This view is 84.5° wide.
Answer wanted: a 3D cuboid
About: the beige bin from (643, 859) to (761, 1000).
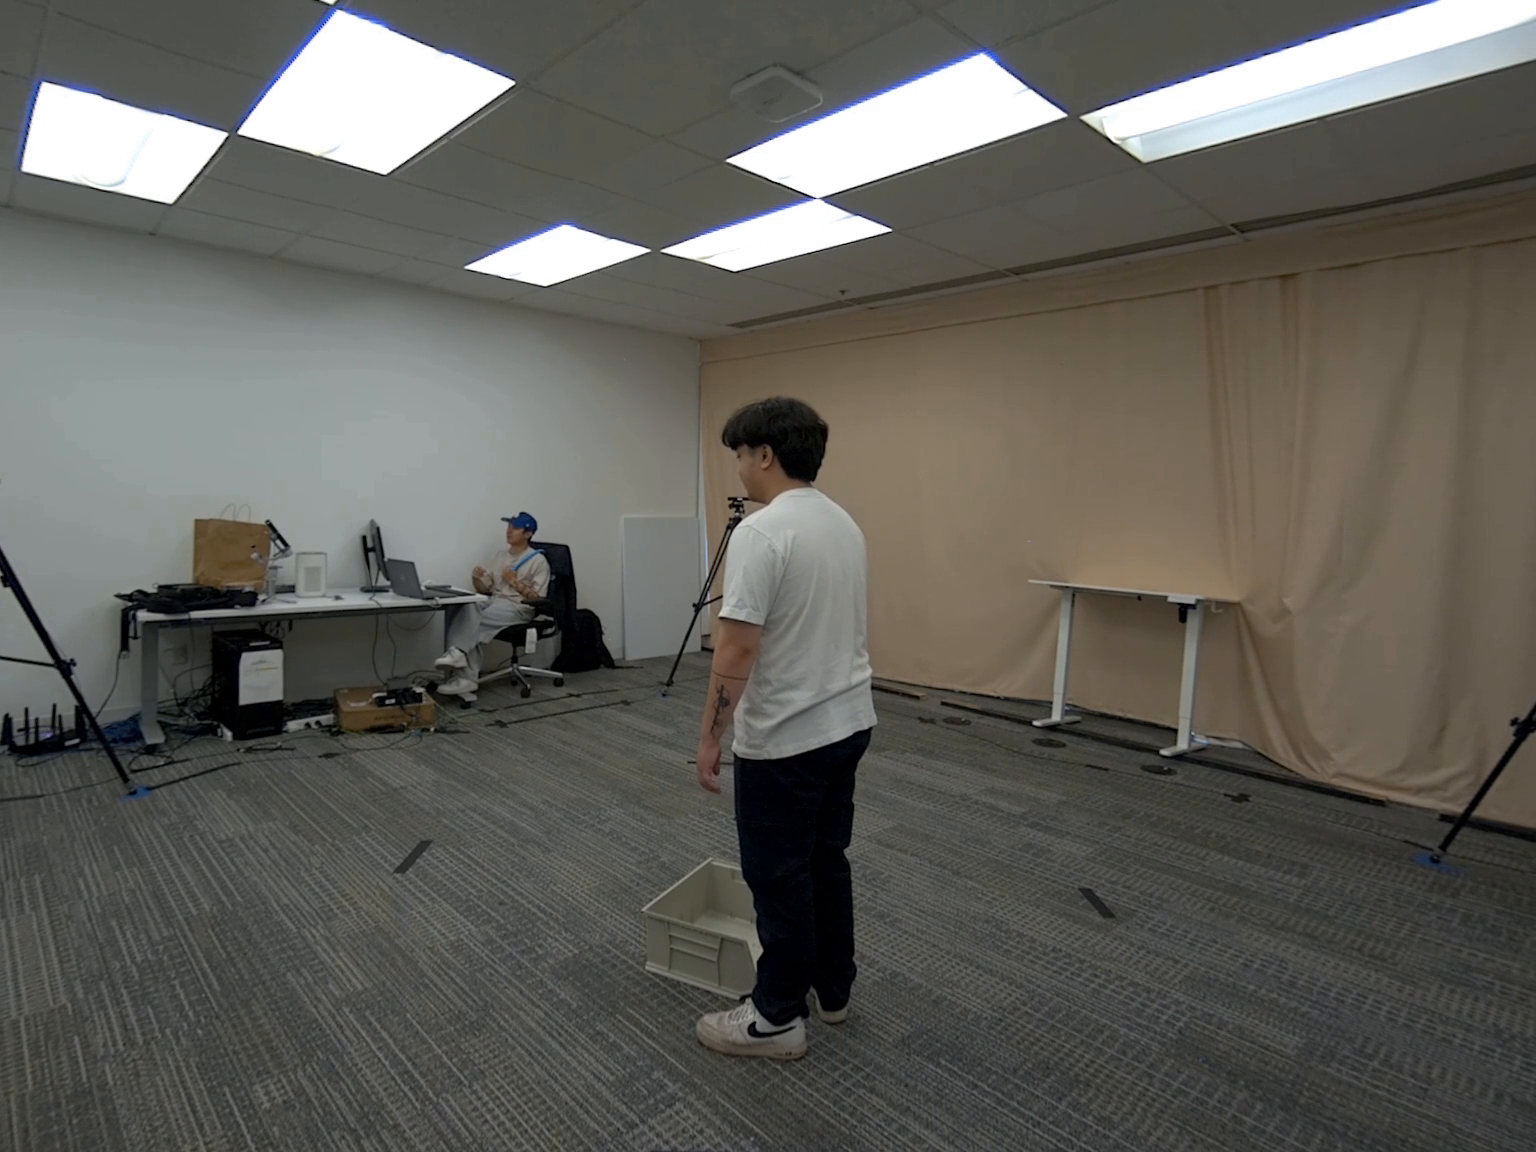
[{"bbox_3d":[-0.121,1.067,2.569,0.385,0.188,0.415,3,6,26],"label":"beige bin"}]
